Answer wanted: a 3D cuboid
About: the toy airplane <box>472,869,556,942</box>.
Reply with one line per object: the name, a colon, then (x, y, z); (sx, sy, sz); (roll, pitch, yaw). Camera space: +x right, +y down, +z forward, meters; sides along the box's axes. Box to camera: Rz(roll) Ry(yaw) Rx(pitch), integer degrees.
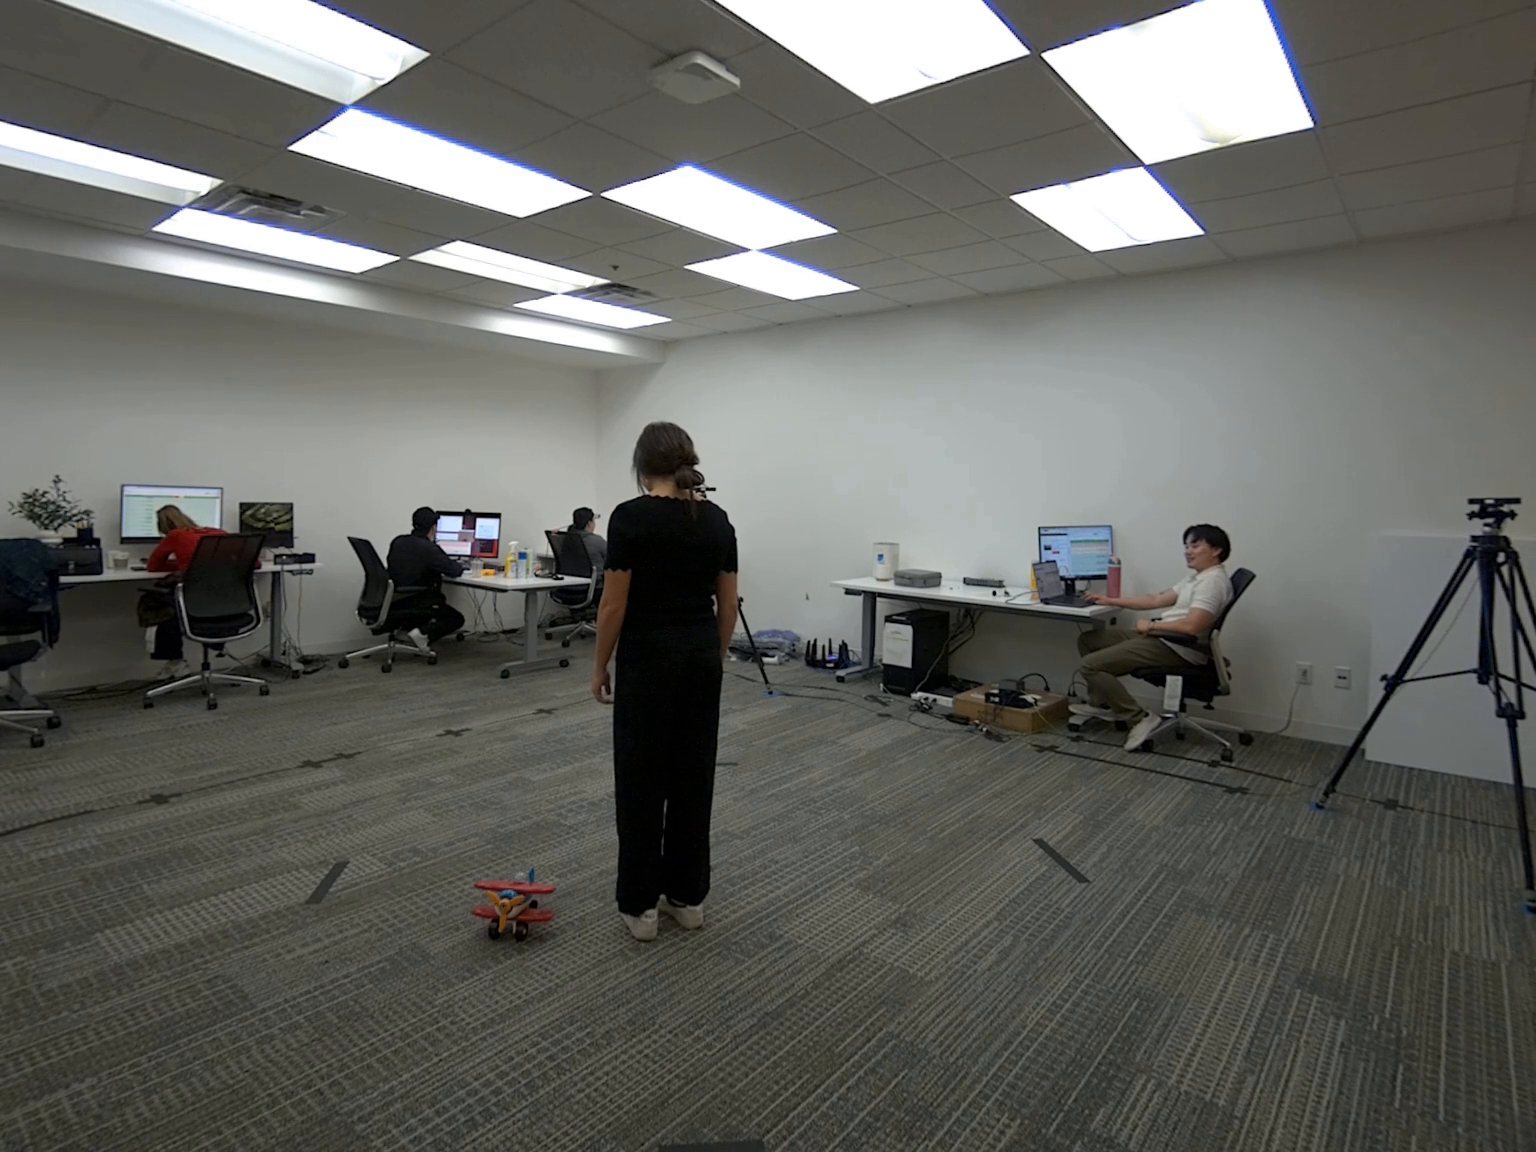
toy airplane: (-0.815, 1.025, 2.687); (0.246, 0.156, 0.266); (-1, 6, -22)
